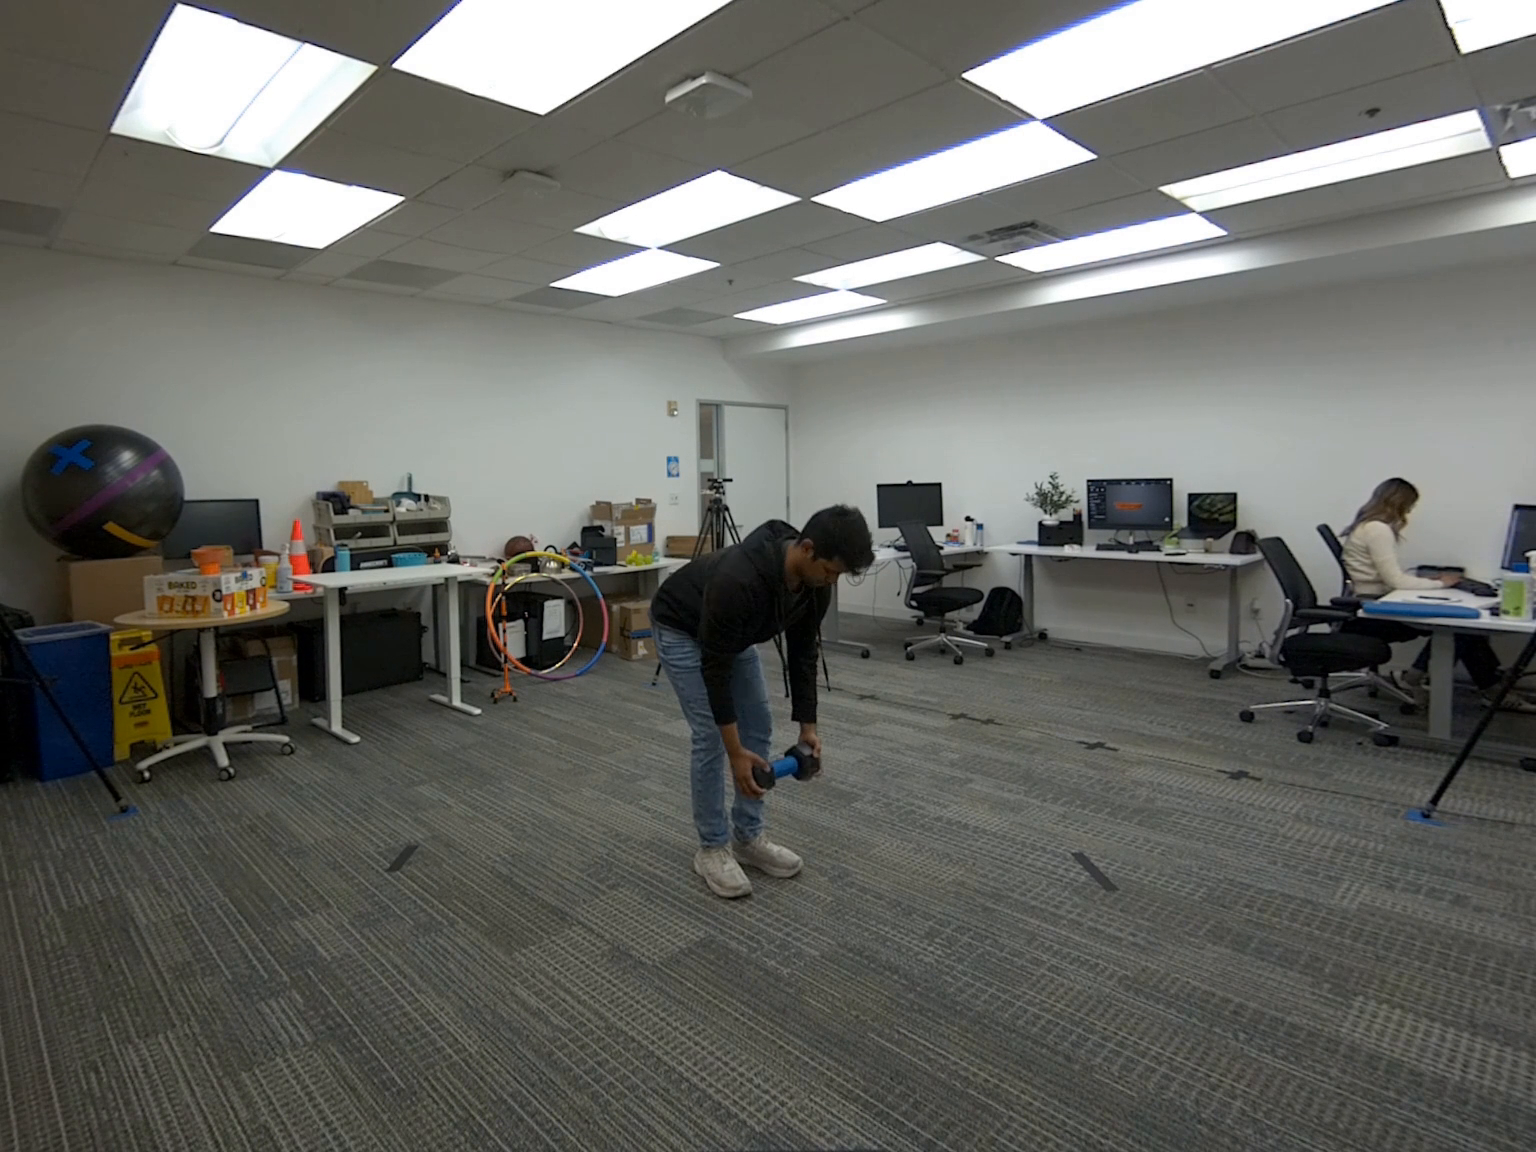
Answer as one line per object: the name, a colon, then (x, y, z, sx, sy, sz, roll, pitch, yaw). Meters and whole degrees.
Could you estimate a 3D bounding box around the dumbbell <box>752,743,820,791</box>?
dumbbell: (0.034, 0.645, 2.869, 0.286, 0.111, 0.123, -9, -27, -40)
